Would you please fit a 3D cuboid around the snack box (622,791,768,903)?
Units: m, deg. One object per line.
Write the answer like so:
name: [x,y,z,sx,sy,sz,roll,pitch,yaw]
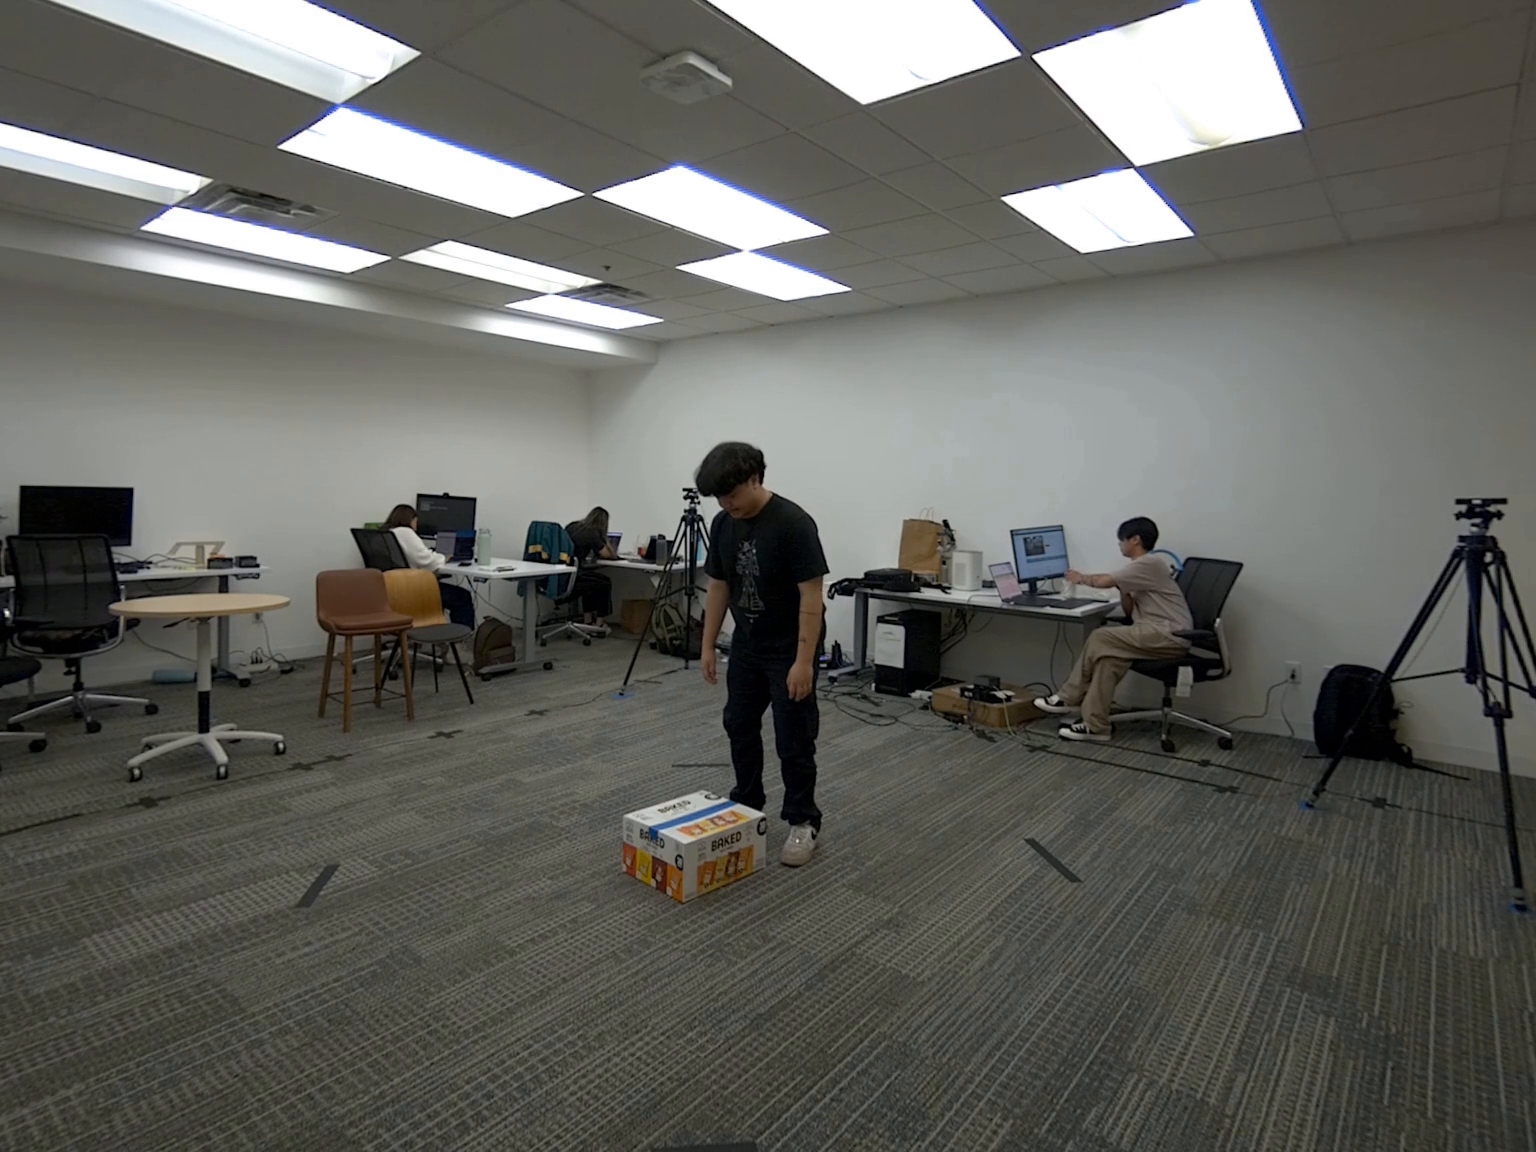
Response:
snack box: [-0.277,0.969,3.096,0.352,0.205,0.393,6,7,44]
